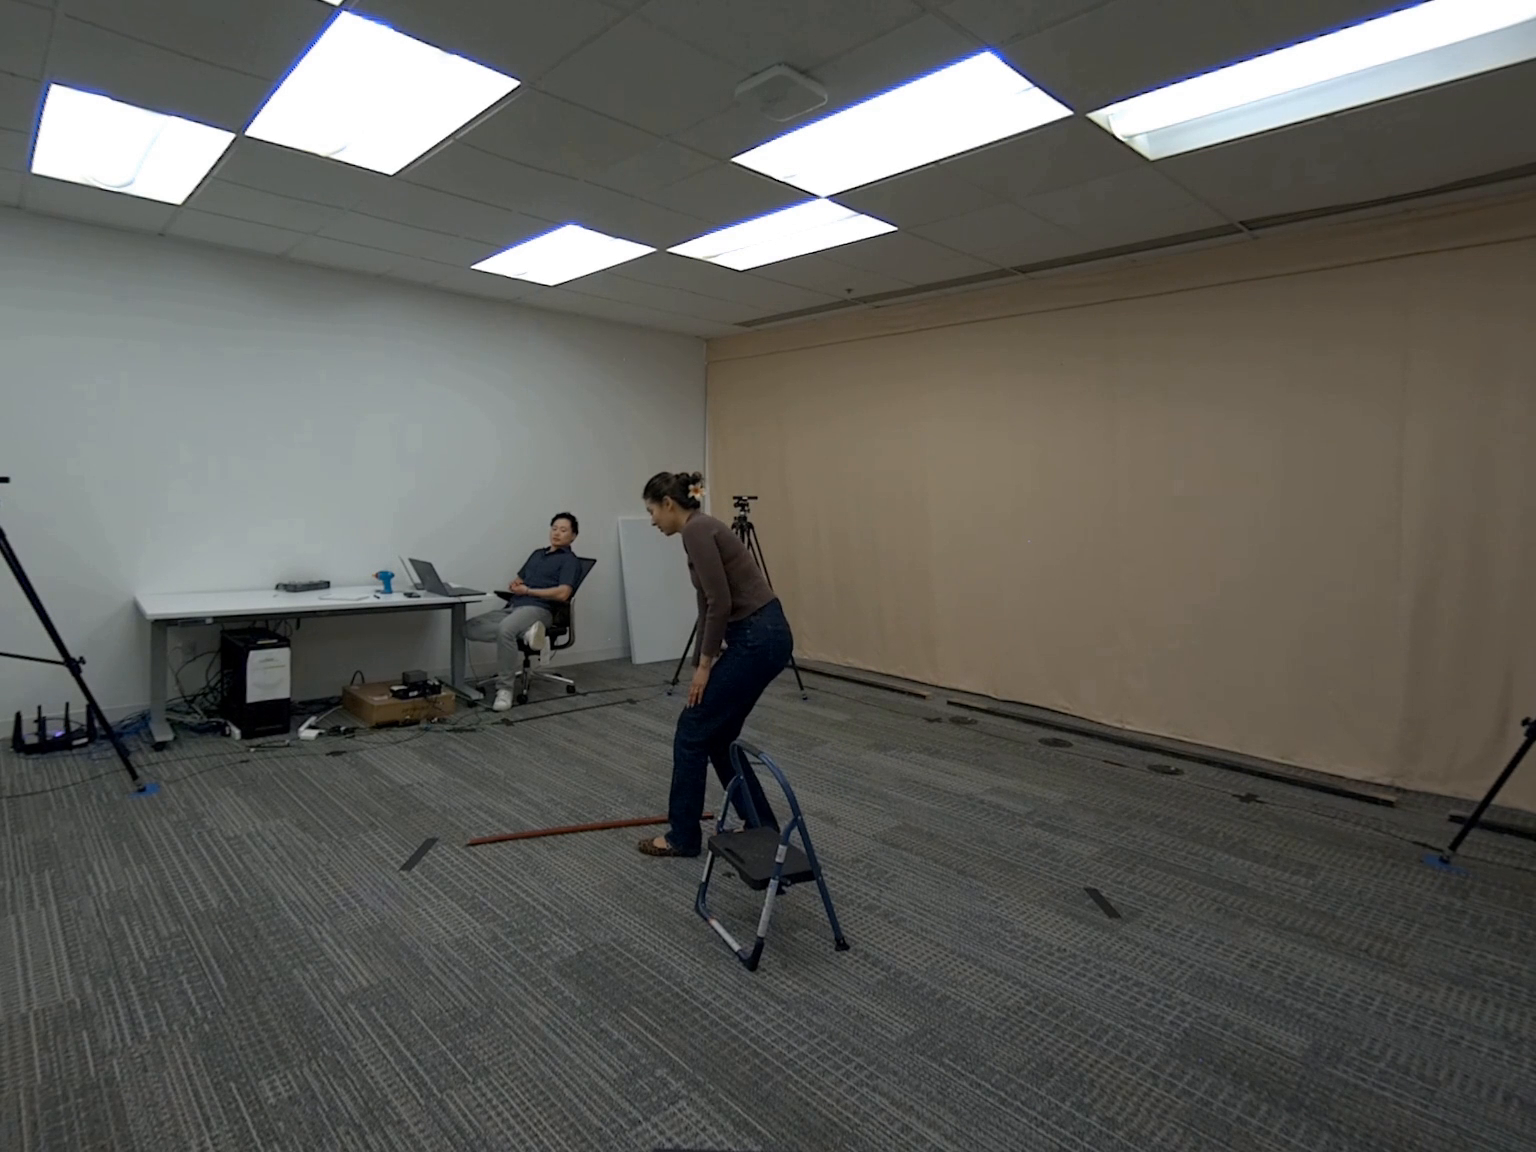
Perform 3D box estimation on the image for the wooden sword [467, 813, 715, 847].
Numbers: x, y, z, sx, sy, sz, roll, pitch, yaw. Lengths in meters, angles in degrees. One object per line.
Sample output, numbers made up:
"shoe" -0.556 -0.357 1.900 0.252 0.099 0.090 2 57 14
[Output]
"wooden sword" -0.713 1.034 3.485 1.010 0.024 0.052 -1 -2 -19
